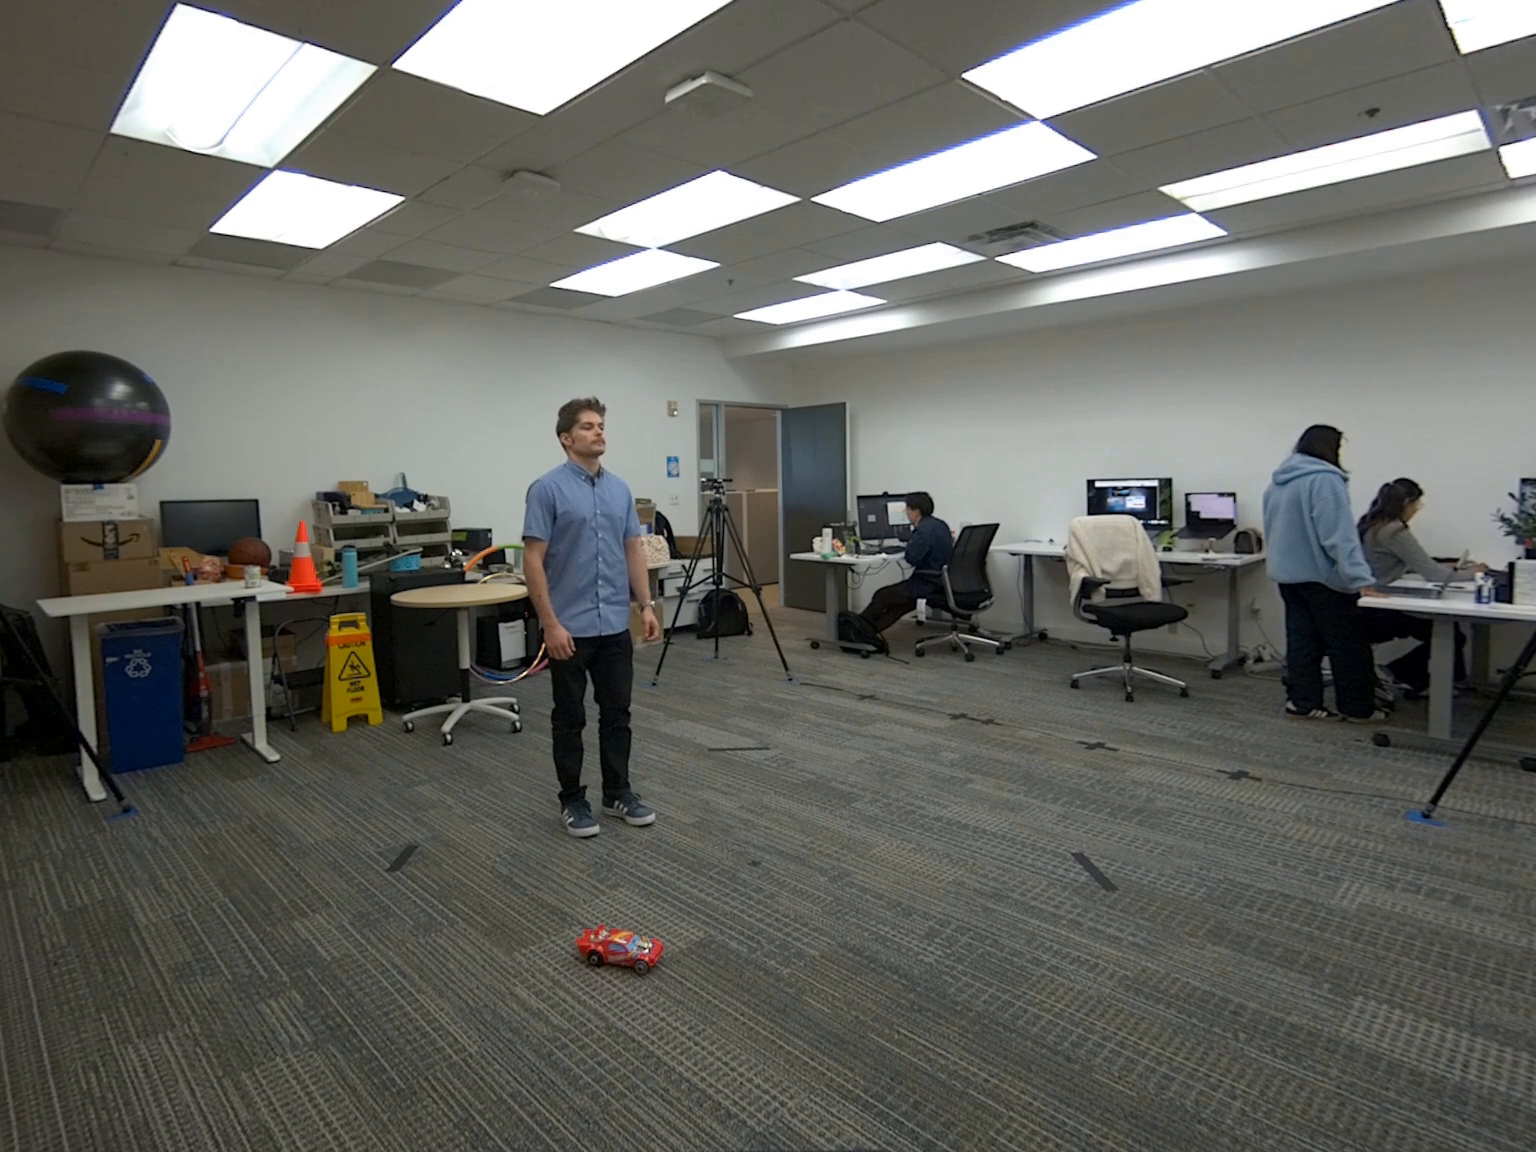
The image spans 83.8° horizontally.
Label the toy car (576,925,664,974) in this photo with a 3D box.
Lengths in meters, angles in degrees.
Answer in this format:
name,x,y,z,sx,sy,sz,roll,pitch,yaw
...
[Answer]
name,x,y,z,sx,sy,sz,roll,pitch,yaw
toy car,-0.437,1.093,2.500,0.259,0.083,0.129,12,9,16
